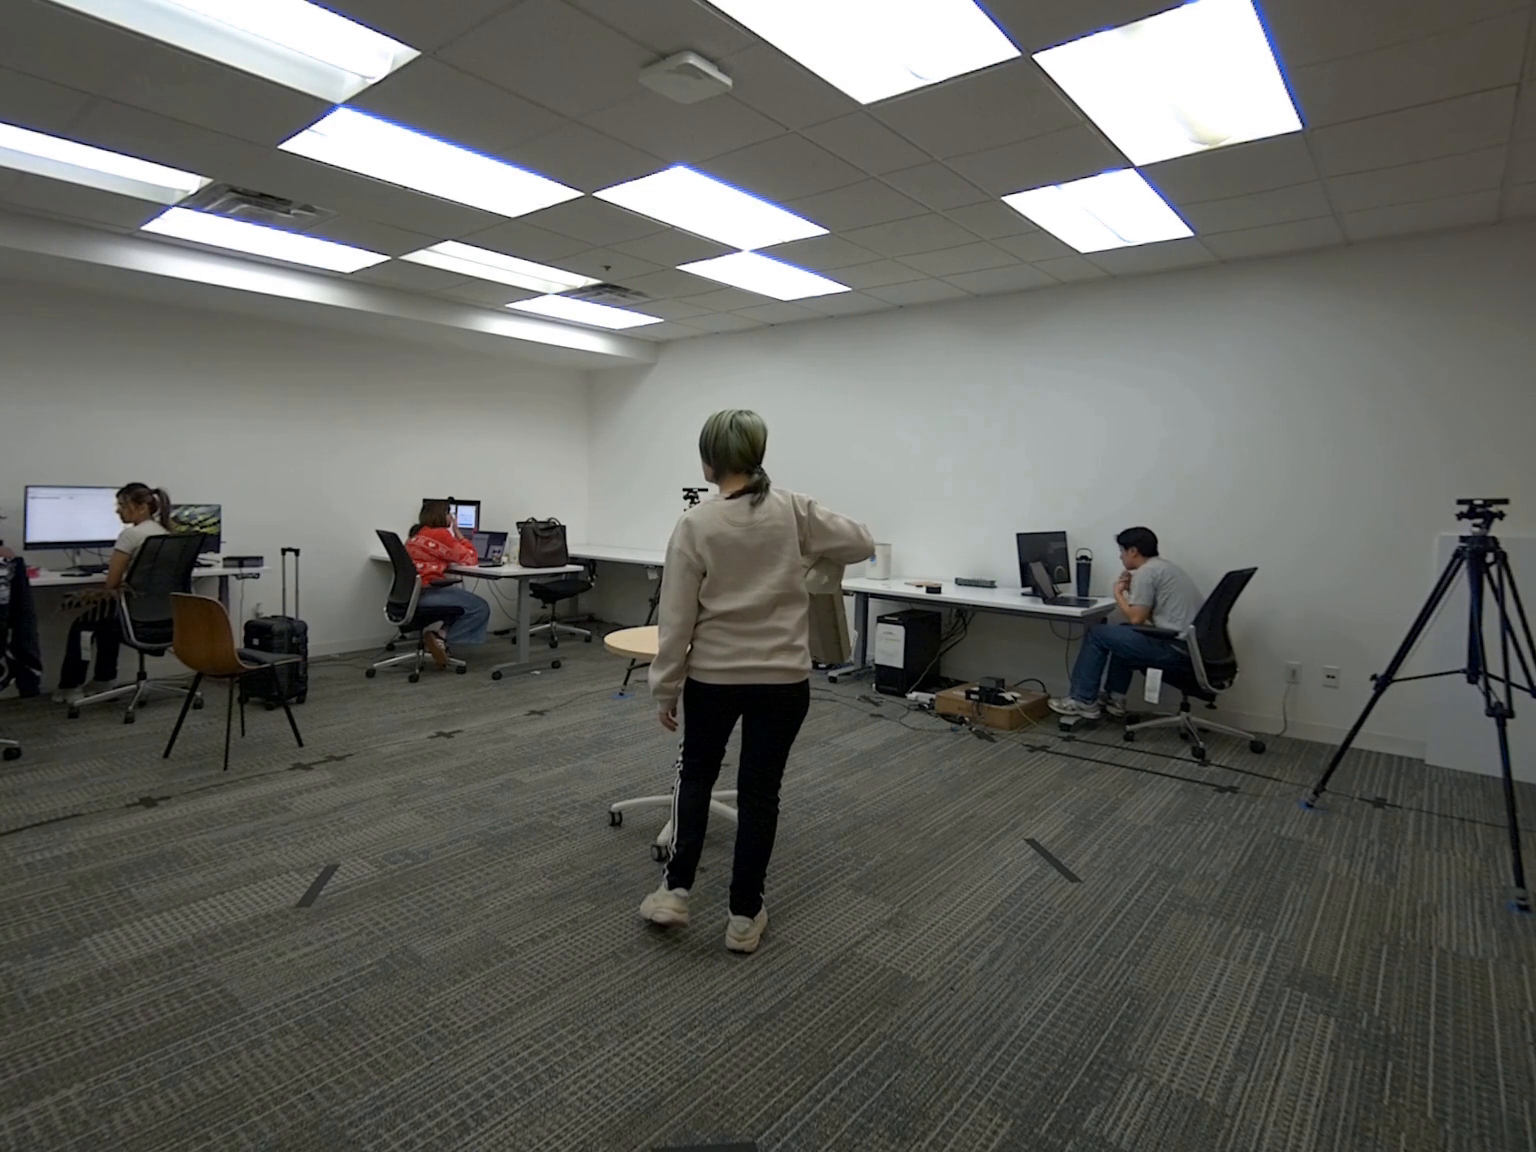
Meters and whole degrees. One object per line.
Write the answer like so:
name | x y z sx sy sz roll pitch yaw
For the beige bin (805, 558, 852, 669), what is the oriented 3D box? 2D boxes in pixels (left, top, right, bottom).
beige bin | 0.104 0.075 2.939 0.391 0.407 0.189 24 58 29
